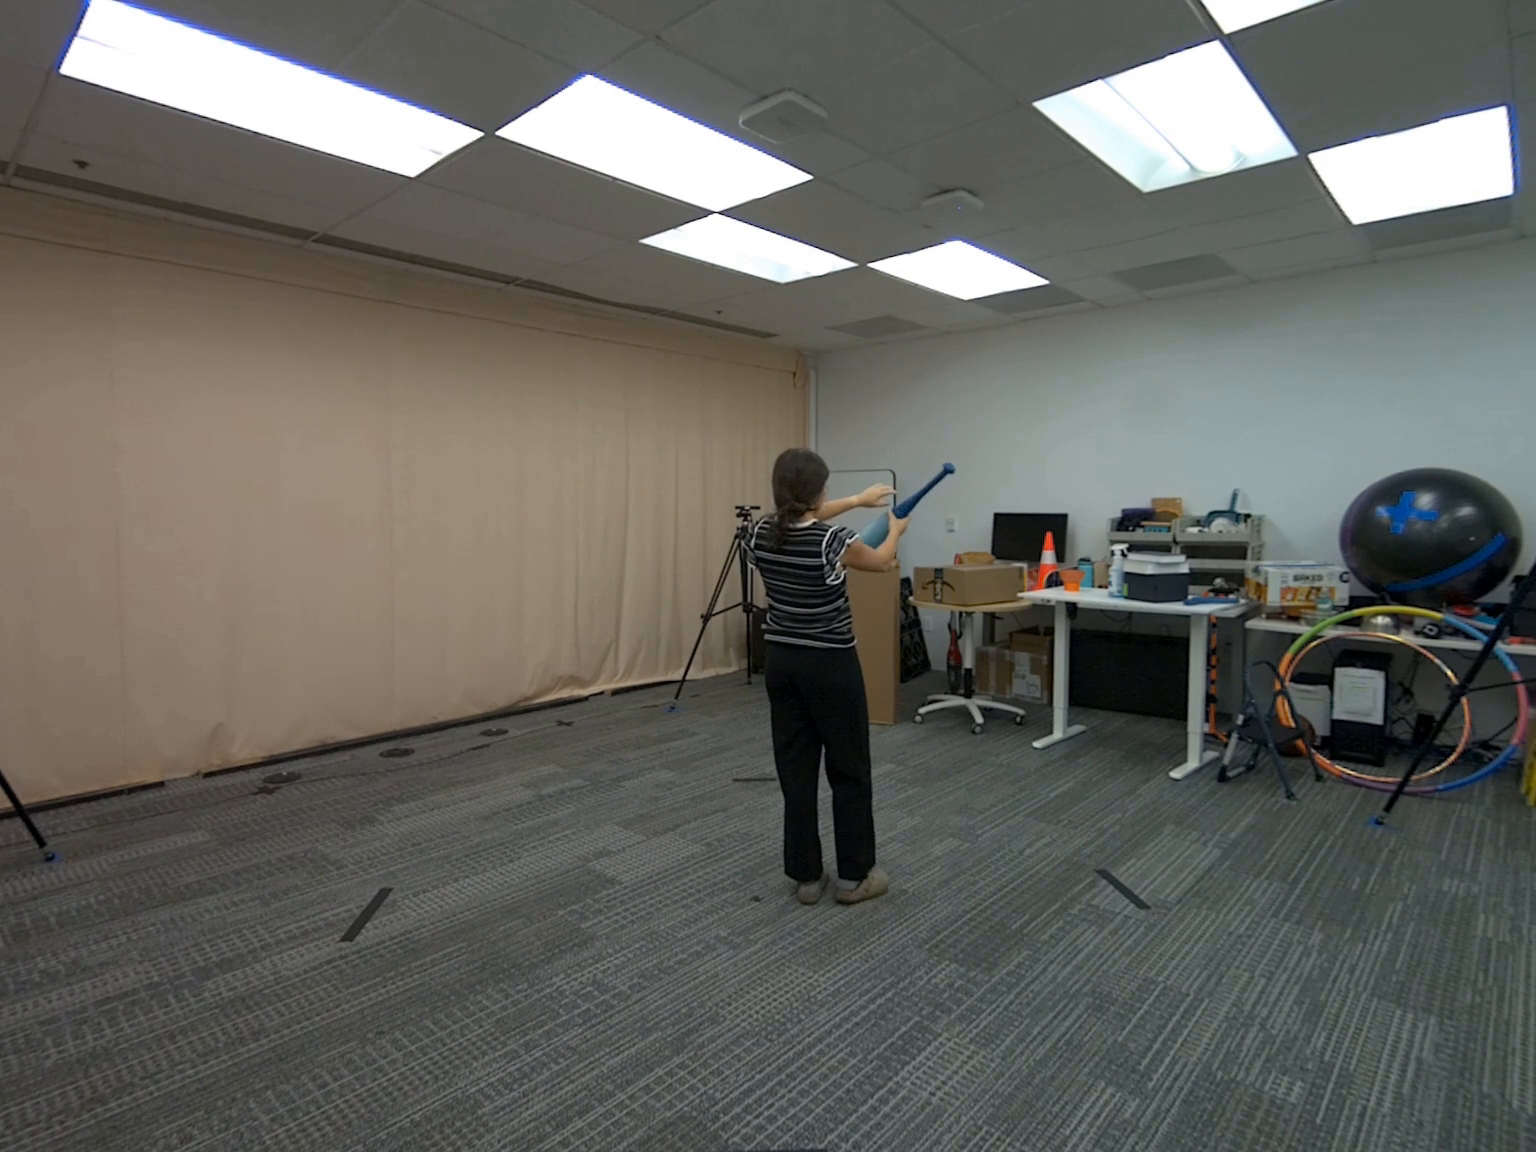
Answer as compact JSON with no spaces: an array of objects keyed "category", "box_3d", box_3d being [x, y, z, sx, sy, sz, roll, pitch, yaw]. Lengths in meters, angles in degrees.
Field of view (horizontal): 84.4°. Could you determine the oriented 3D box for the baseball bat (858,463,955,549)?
[{"category":"baseball bat","box_3d":[0.522,-0.254,3.285,0.086,0.091,0.547,-4,-33,-49]}]
